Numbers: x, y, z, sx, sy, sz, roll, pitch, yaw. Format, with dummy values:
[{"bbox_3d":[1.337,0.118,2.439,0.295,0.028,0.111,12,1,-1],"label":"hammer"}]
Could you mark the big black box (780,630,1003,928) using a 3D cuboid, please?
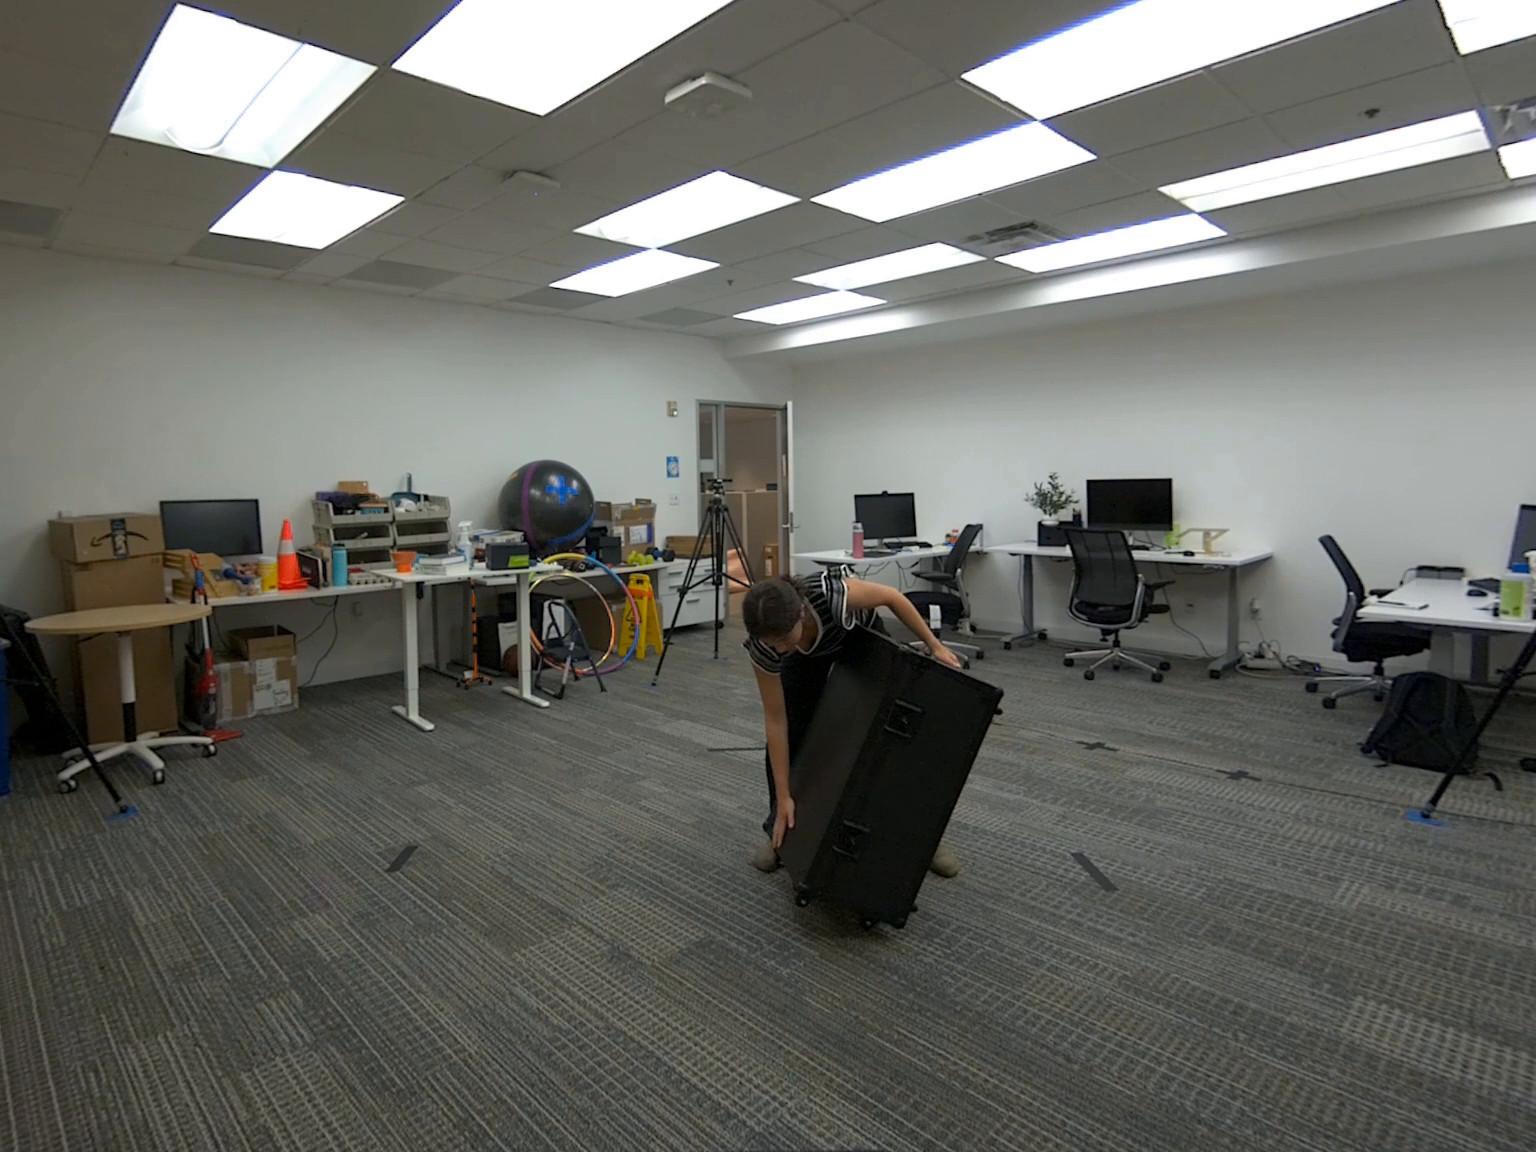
[{"bbox_3d":[0.352,0.649,2.758,0.392,0.862,0.527,24,-1,-10],"label":"big black box"}]
